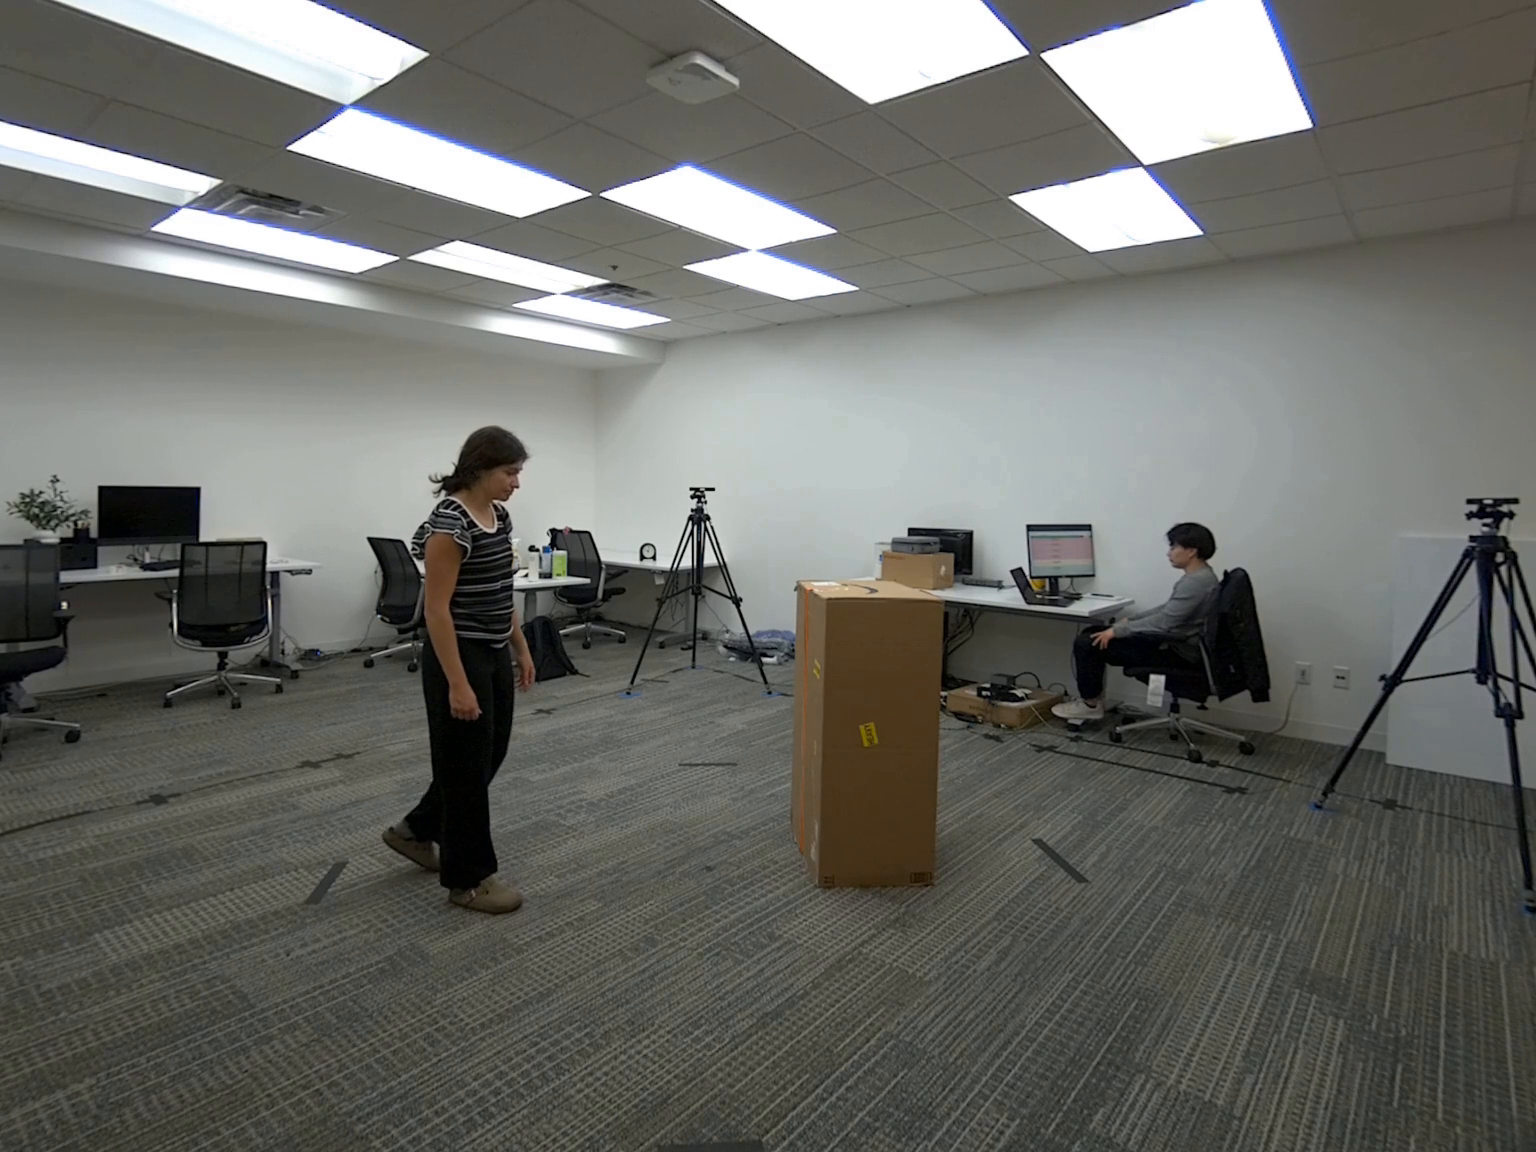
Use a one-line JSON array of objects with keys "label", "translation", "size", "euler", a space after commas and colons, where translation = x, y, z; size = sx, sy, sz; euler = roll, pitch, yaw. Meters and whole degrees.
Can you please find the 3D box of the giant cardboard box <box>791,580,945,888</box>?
[{"label": "giant cardboard box", "translation": [0.346, 0.553, 3.255], "size": [0.423, 1.023, 0.583], "euler": [1, 3, -7]}]
